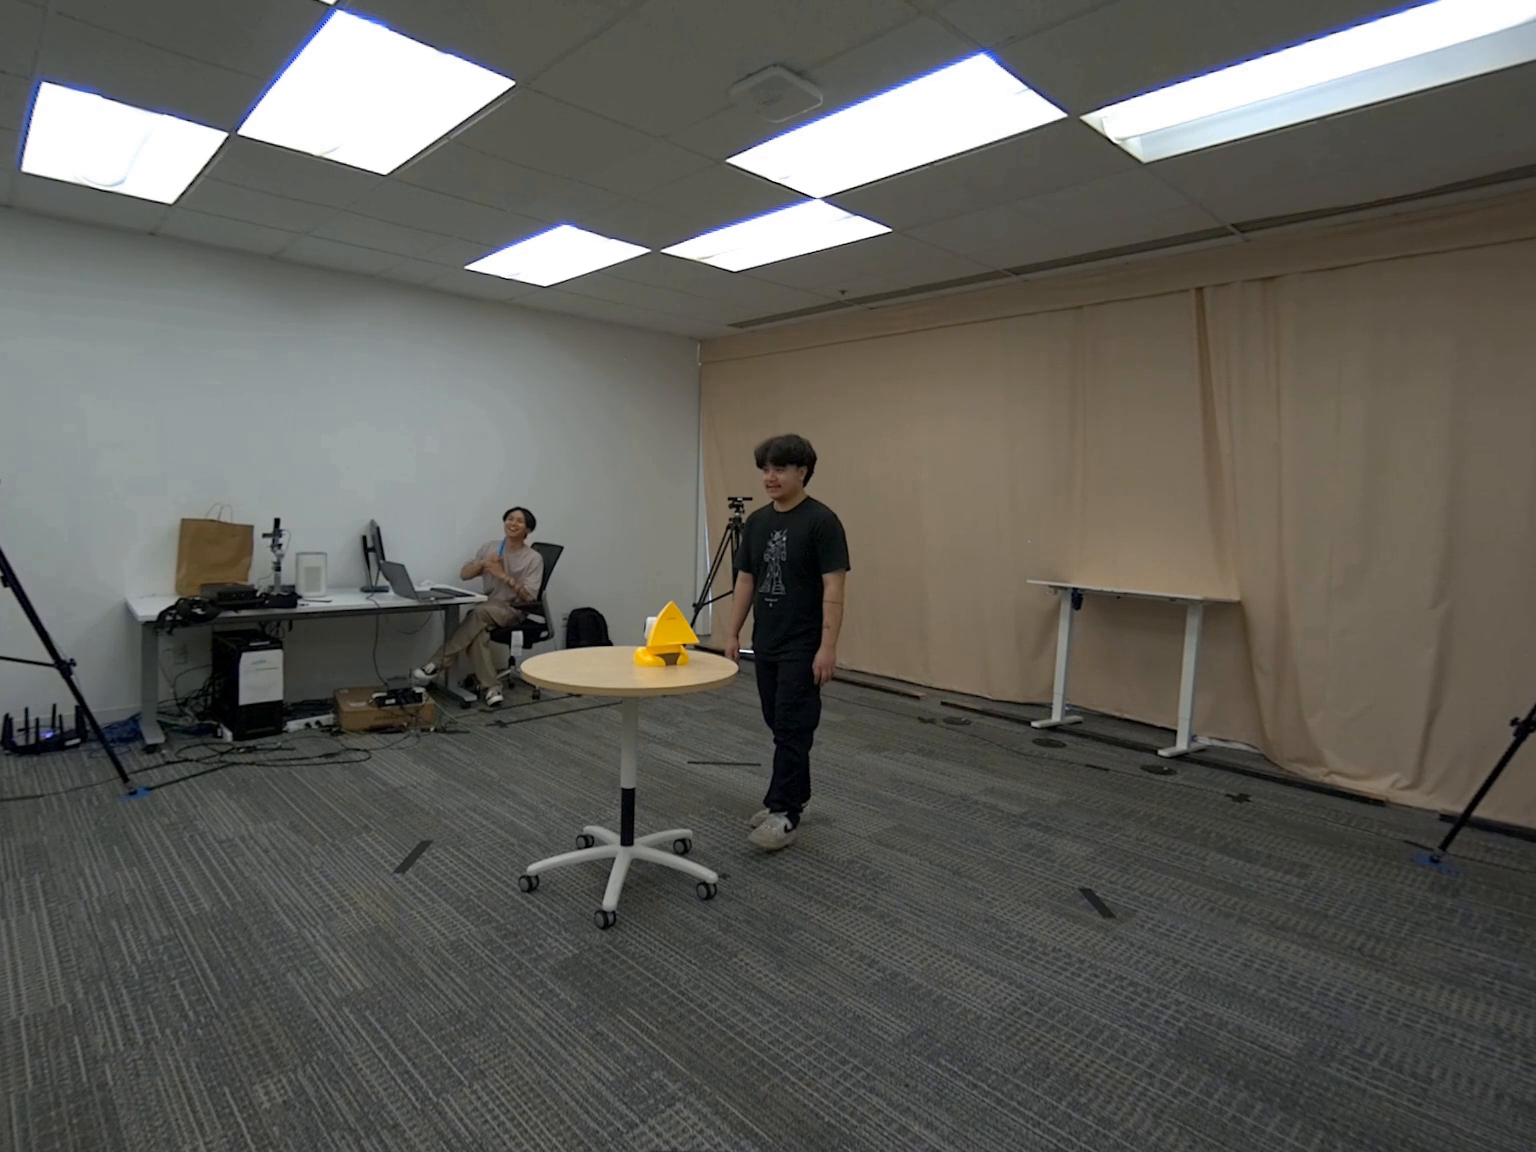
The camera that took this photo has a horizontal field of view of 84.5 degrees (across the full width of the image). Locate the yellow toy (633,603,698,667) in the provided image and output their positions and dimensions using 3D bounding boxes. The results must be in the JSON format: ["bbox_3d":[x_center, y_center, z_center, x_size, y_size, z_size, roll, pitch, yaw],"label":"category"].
[{"bbox_3d":[-0.393,0.201,3.060,0.200,0.230,0.198,-1,4,-36],"label":"yellow toy"}]
